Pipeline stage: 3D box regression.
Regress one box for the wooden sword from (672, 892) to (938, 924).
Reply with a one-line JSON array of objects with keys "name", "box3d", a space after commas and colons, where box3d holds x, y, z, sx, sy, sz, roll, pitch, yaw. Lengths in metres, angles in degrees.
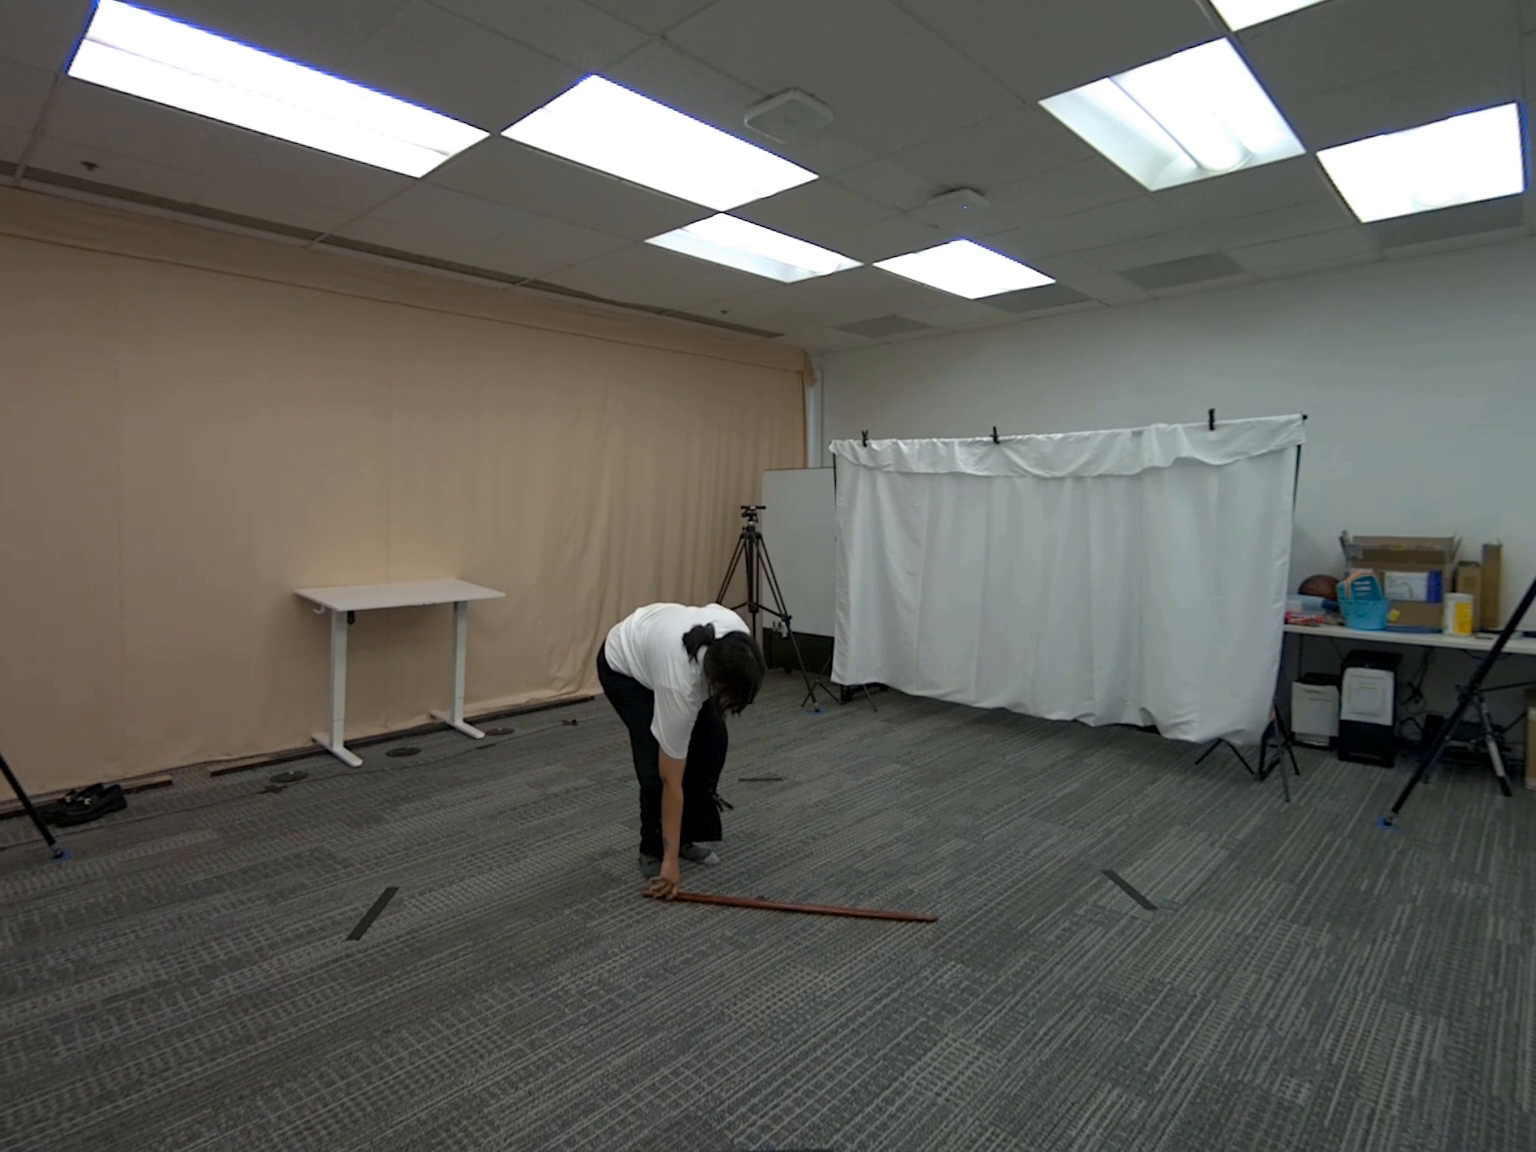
[{"name": "wooden sword", "box3d": [0.055, 1.119, 2.899, 1.036, 0.024, 0.050, 2, -24, 10]}]
